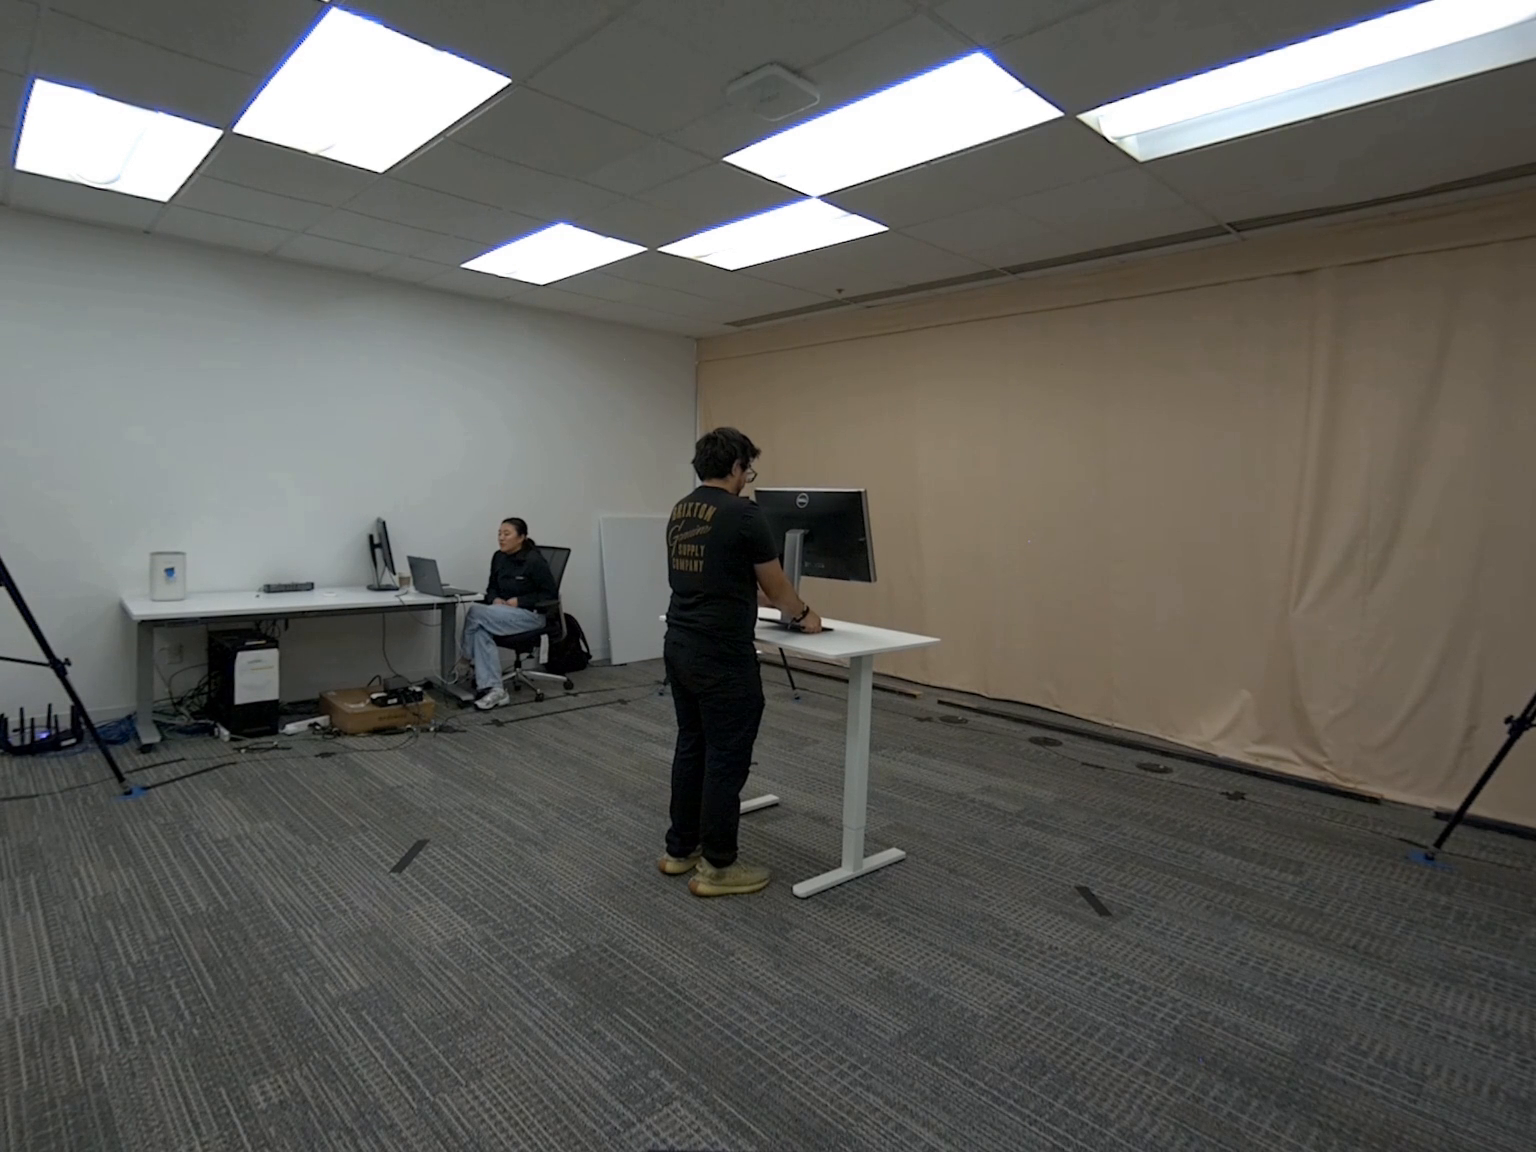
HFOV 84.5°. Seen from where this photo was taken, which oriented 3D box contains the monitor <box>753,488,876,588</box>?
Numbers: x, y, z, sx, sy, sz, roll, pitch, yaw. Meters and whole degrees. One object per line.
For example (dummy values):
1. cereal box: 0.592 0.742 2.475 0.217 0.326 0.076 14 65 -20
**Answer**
1. monitor: 0.121 -0.071 3.308 0.580 0.551 0.206 6 9 43
